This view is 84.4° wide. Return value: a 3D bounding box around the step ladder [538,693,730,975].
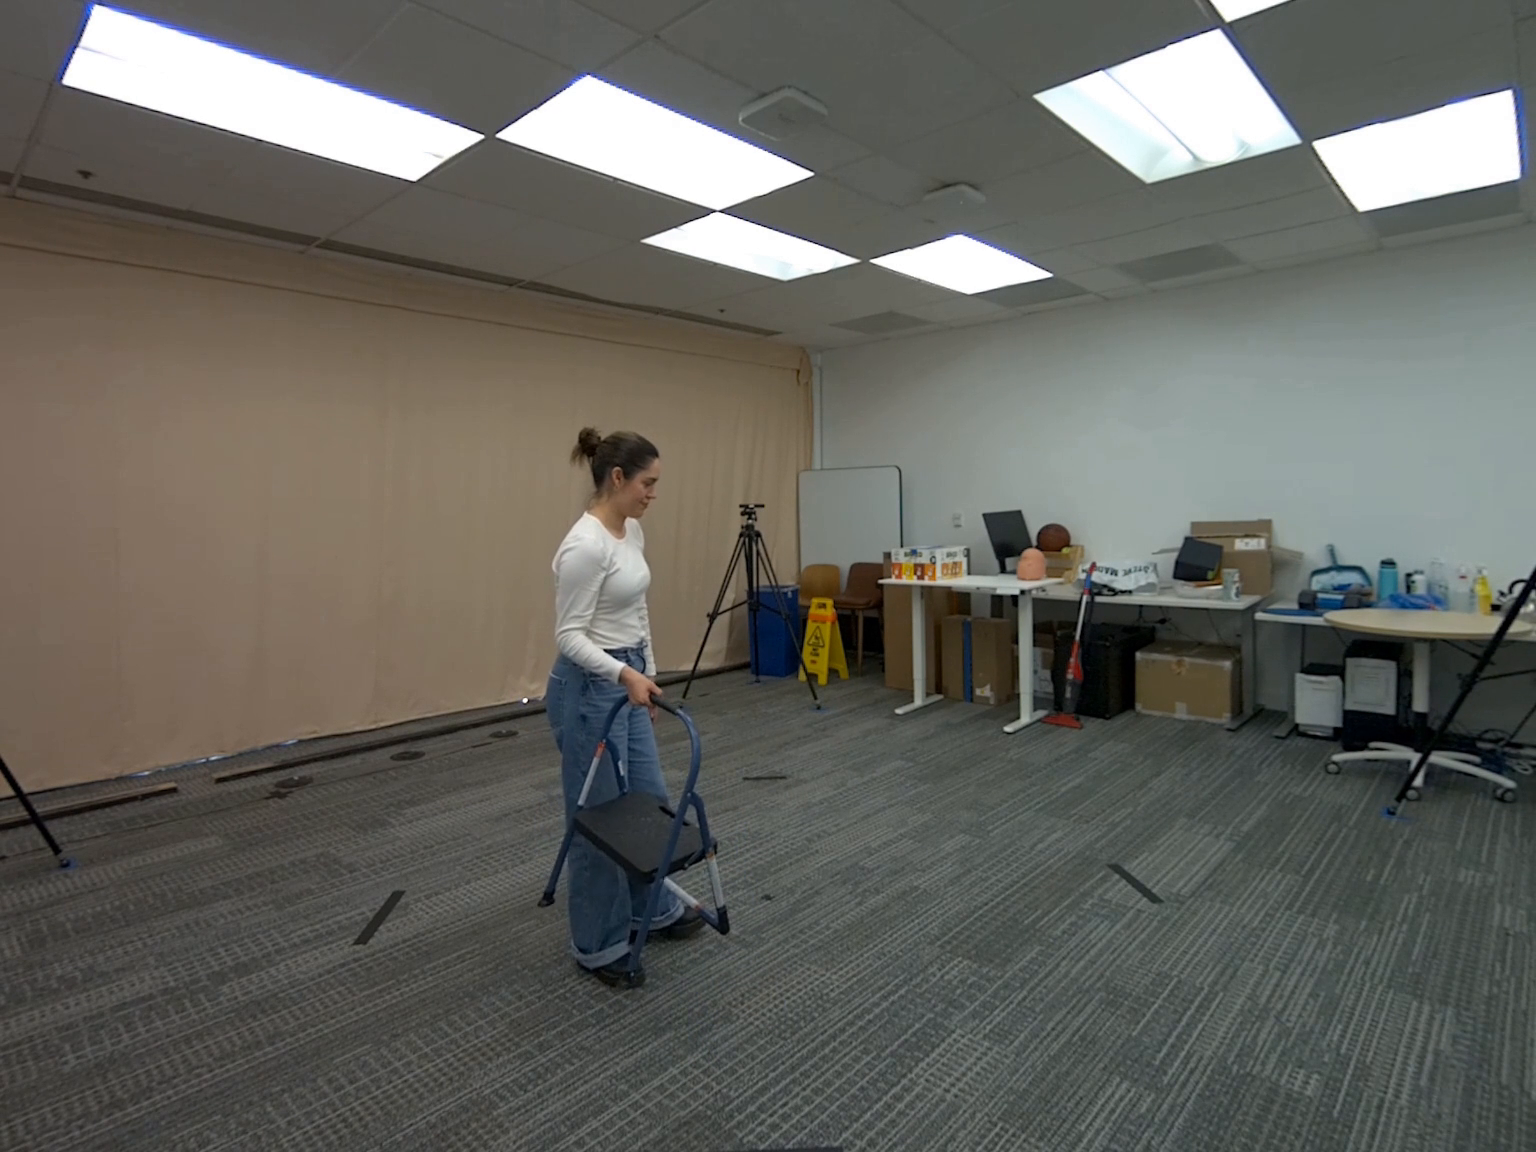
[{"bbox_3d":[-0.335,0.638,2.205,0.339,0.602,0.446,-8,15,-42],"label":"step ladder"}]
